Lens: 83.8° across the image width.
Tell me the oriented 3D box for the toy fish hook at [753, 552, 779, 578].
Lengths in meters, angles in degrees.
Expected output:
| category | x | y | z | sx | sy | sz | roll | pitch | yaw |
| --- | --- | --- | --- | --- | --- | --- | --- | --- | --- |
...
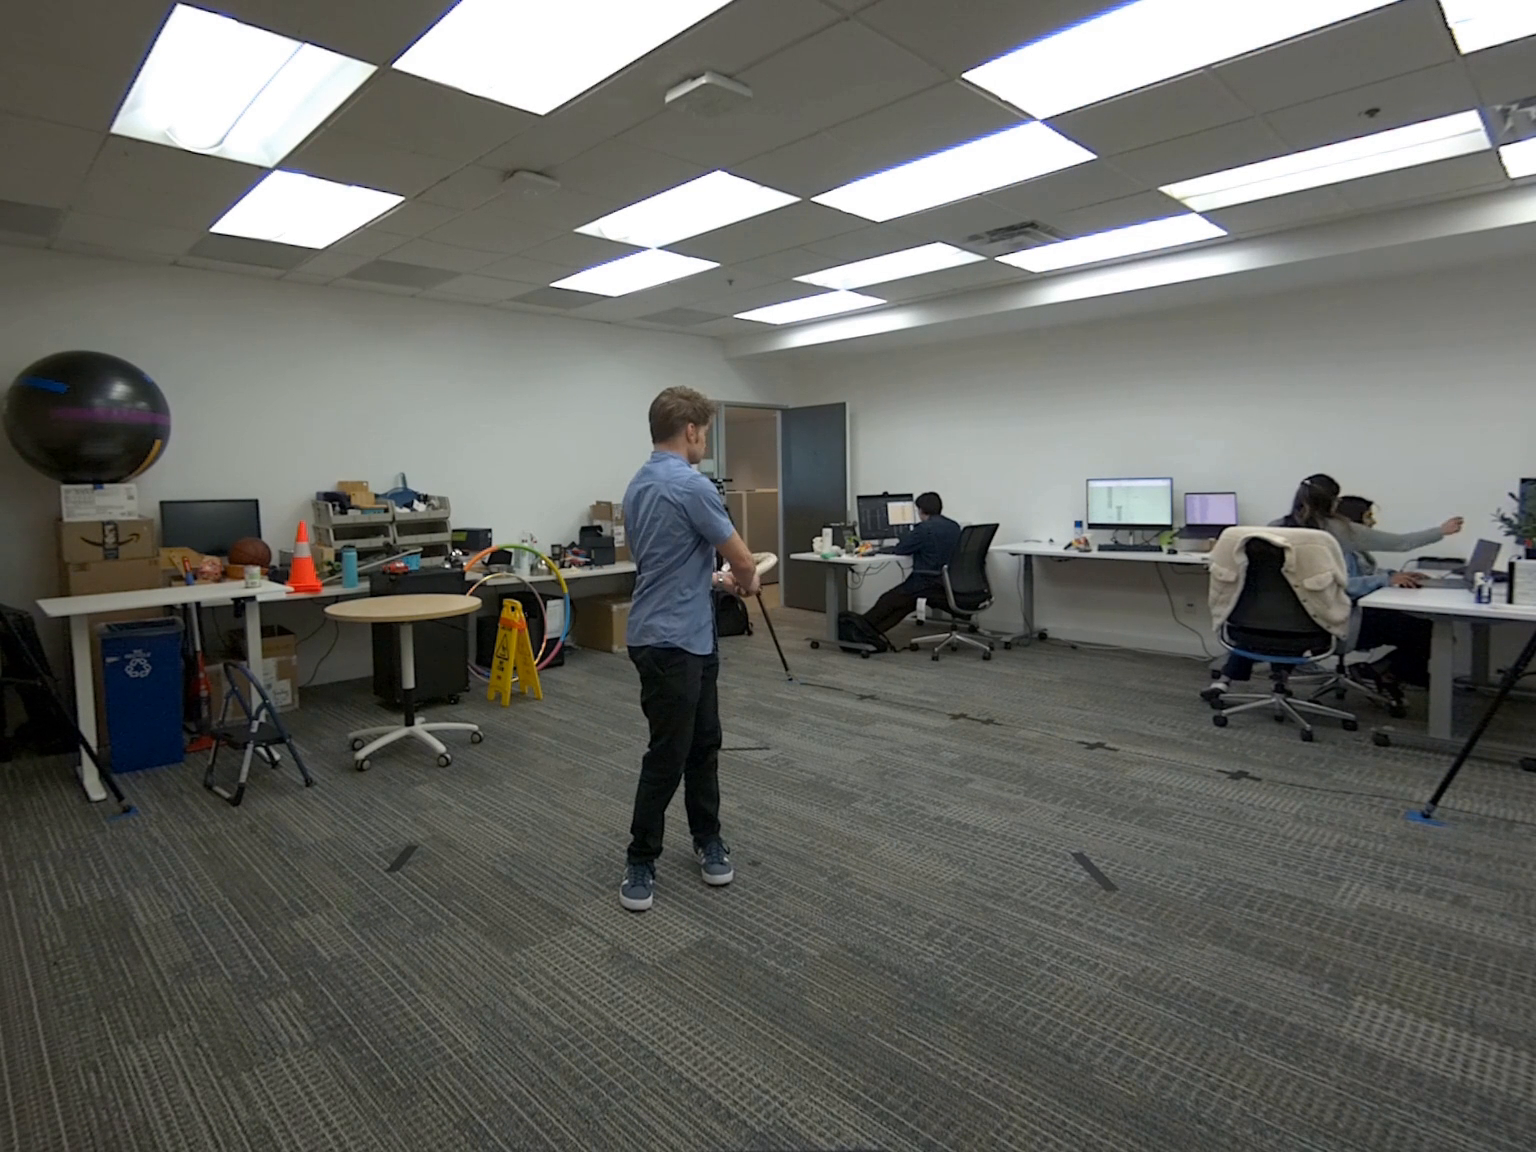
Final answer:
| category | x | y | z | sx | sy | sz | roll | pitch | yaw |
| --- | --- | --- | --- | --- | --- | --- | --- | --- | --- |
| toy fish hook | -0.083 | 0.002 | 3.327 | 0.228 | 0.047 | 0.506 | -8 | 15 | 18 |
